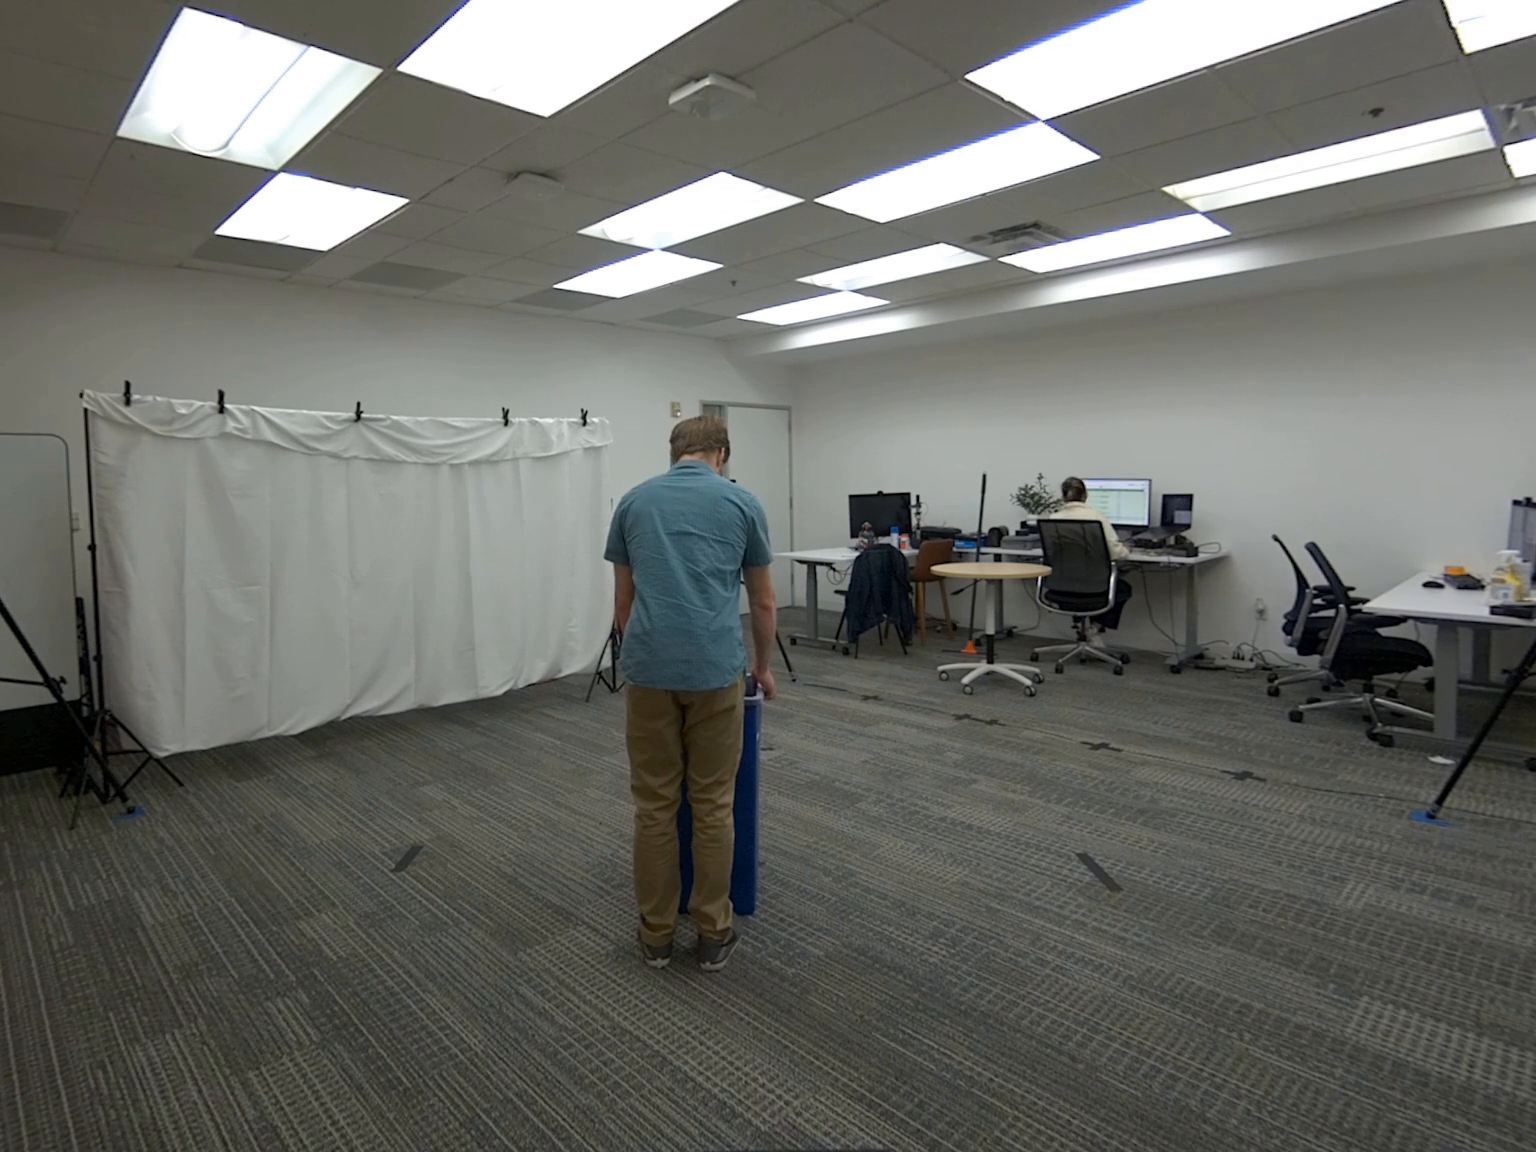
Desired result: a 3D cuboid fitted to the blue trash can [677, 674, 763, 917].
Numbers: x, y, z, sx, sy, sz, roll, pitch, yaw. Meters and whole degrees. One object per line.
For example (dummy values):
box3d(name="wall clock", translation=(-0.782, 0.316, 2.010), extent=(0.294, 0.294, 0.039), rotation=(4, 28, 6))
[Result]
box3d(name="blue trash can", translation=(-0.180, 0.725, 2.877), extent=(0.375, 0.711, 0.378), rotation=(-1, 4, 2))
